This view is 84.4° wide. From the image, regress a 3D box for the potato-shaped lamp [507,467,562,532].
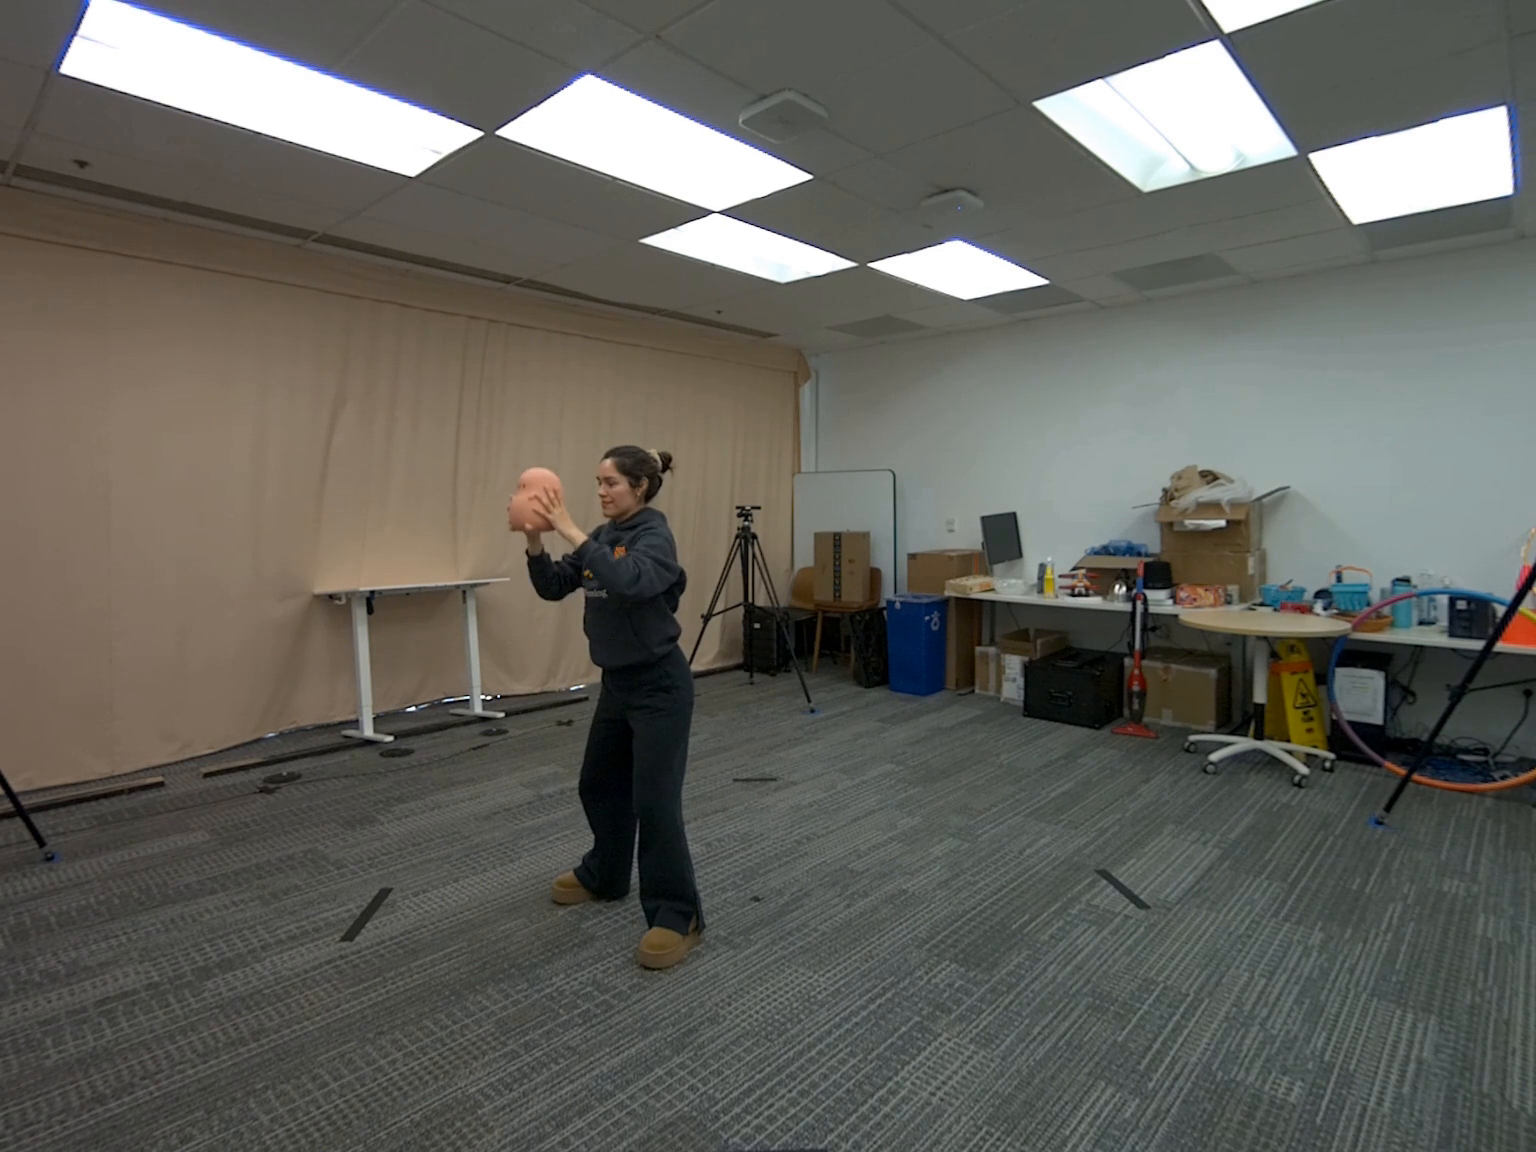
[{"bbox_3d":[-0.703,-0.230,2.595,0.166,0.198,0.170,-5,4,-43],"label":"potato-shaped lamp"}]
